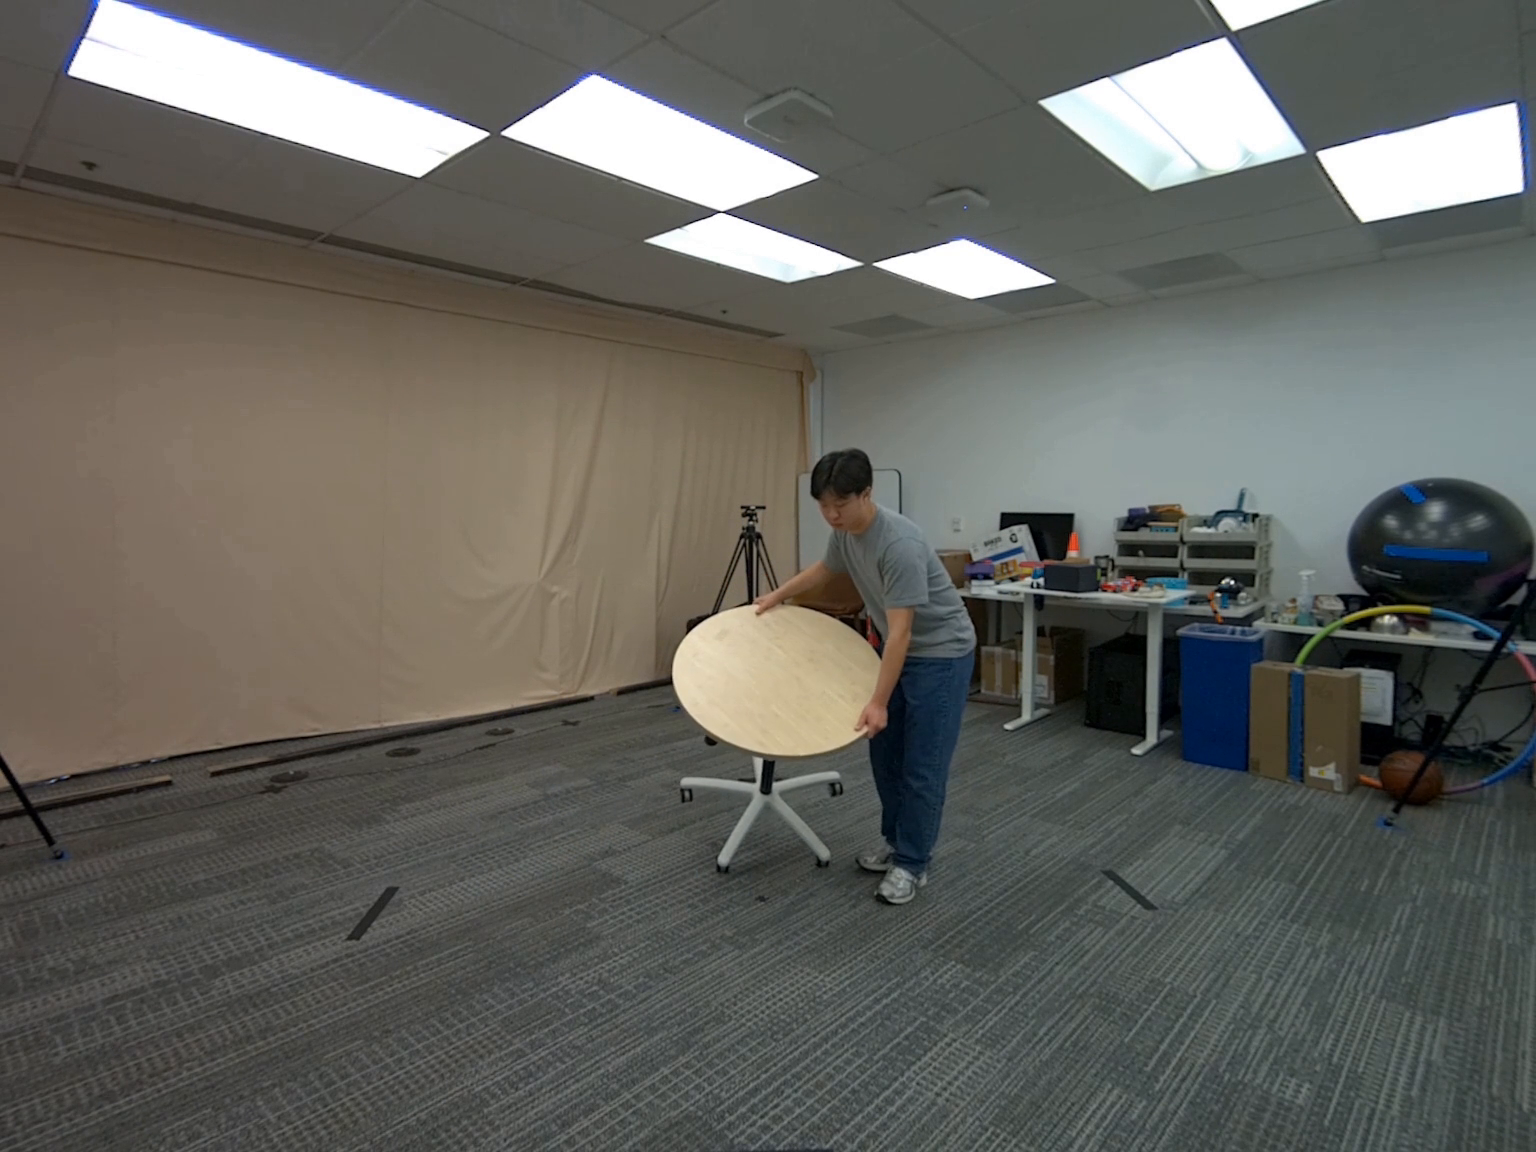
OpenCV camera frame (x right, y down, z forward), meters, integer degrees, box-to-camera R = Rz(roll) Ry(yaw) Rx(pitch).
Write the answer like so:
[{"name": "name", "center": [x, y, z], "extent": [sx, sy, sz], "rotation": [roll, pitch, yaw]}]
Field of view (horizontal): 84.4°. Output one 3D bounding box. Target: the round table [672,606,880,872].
[{"name": "round table", "center": [0.005, 0.658, 3.232], "extent": [0.762, 0.782, 0.778], "rotation": [2, 35, -4]}]
